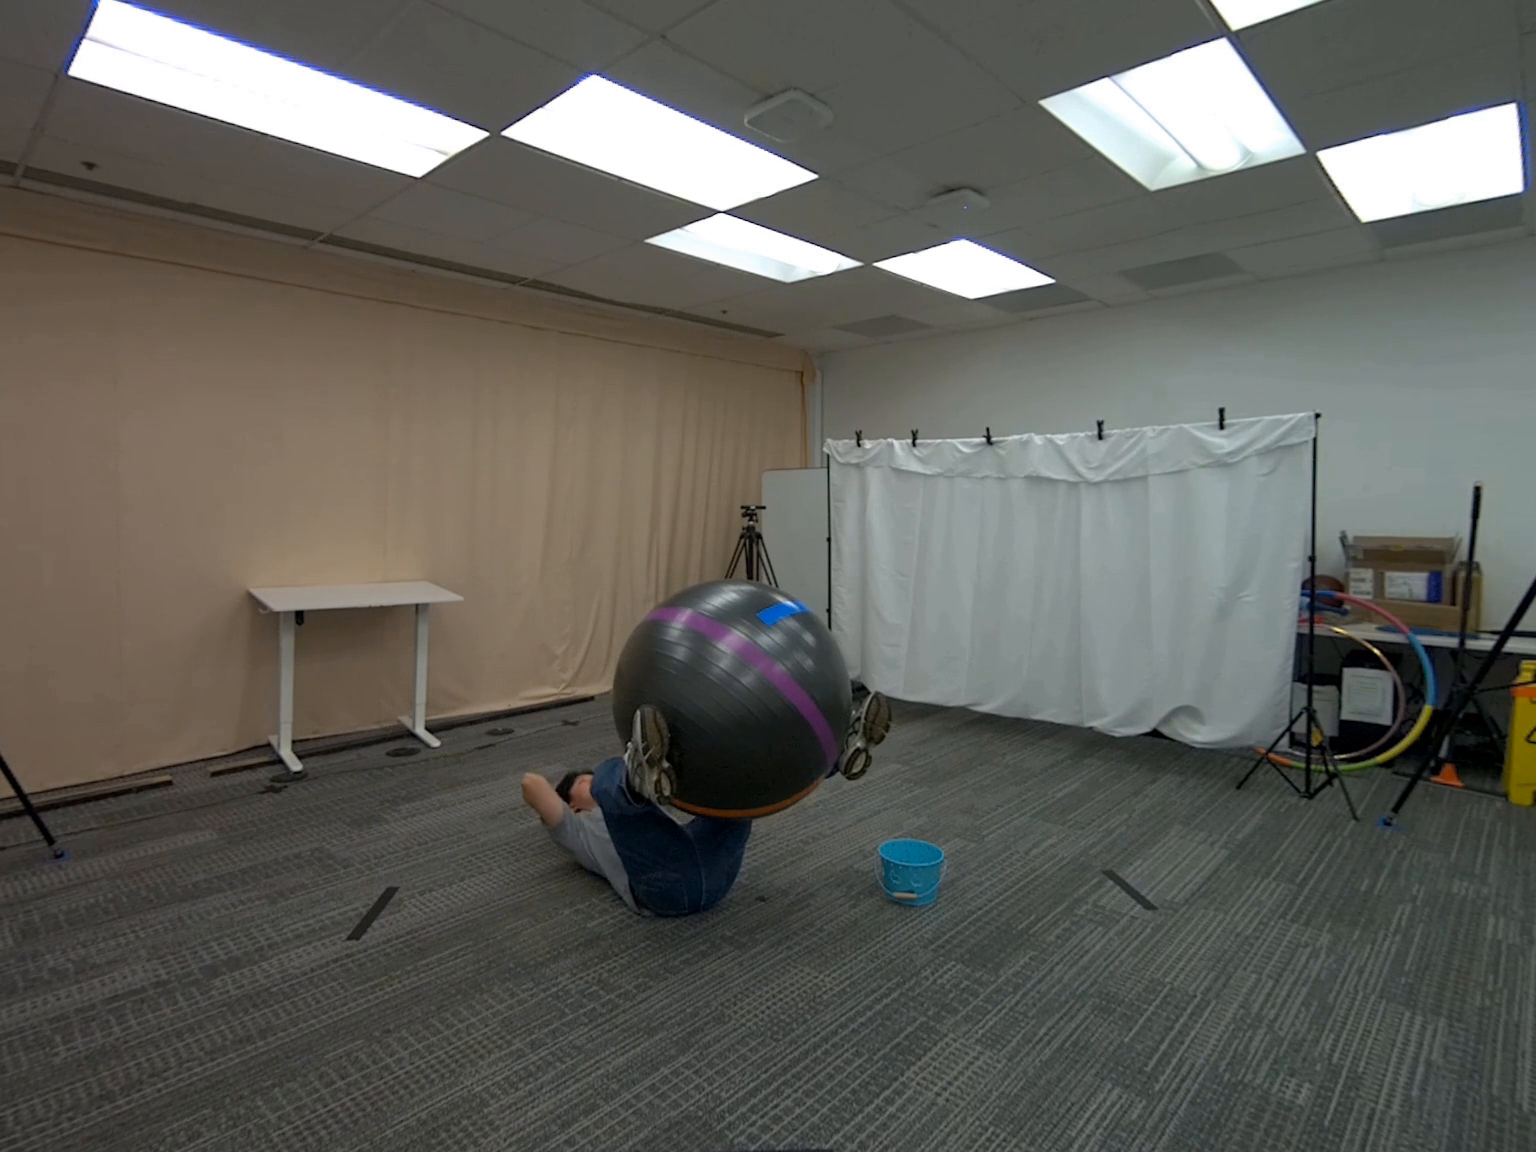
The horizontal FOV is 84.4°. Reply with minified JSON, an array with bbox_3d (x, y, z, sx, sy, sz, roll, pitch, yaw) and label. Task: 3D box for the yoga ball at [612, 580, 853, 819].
[{"bbox_3d":[-0.121,0.386,2.701,0.757,0.756,0.761,0,4,-2],"label":"yoga ball"}]
